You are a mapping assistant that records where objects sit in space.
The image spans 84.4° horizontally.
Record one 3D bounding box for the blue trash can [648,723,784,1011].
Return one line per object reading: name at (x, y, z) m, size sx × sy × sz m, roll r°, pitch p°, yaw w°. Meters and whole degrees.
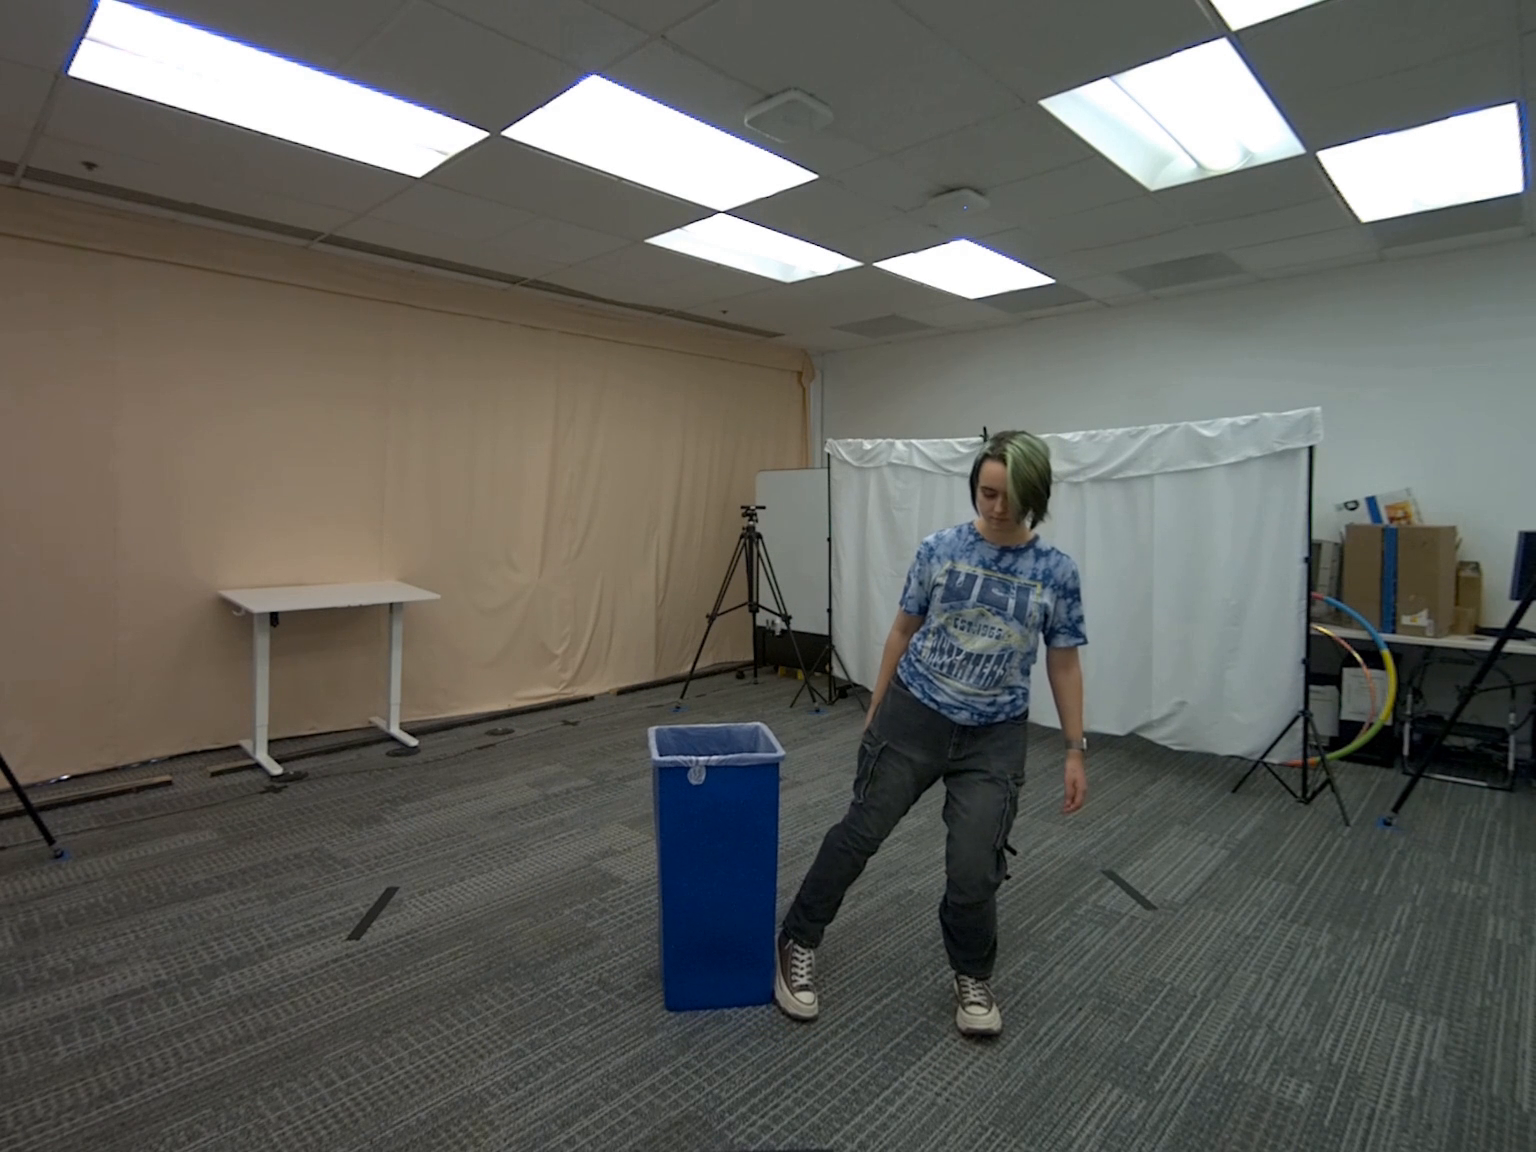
blue trash can at (-0.159, 0.833, 2.467) m, size 0.375 × 0.712 × 0.378 m, roll 0°, pitch 3°, yaw -9°
